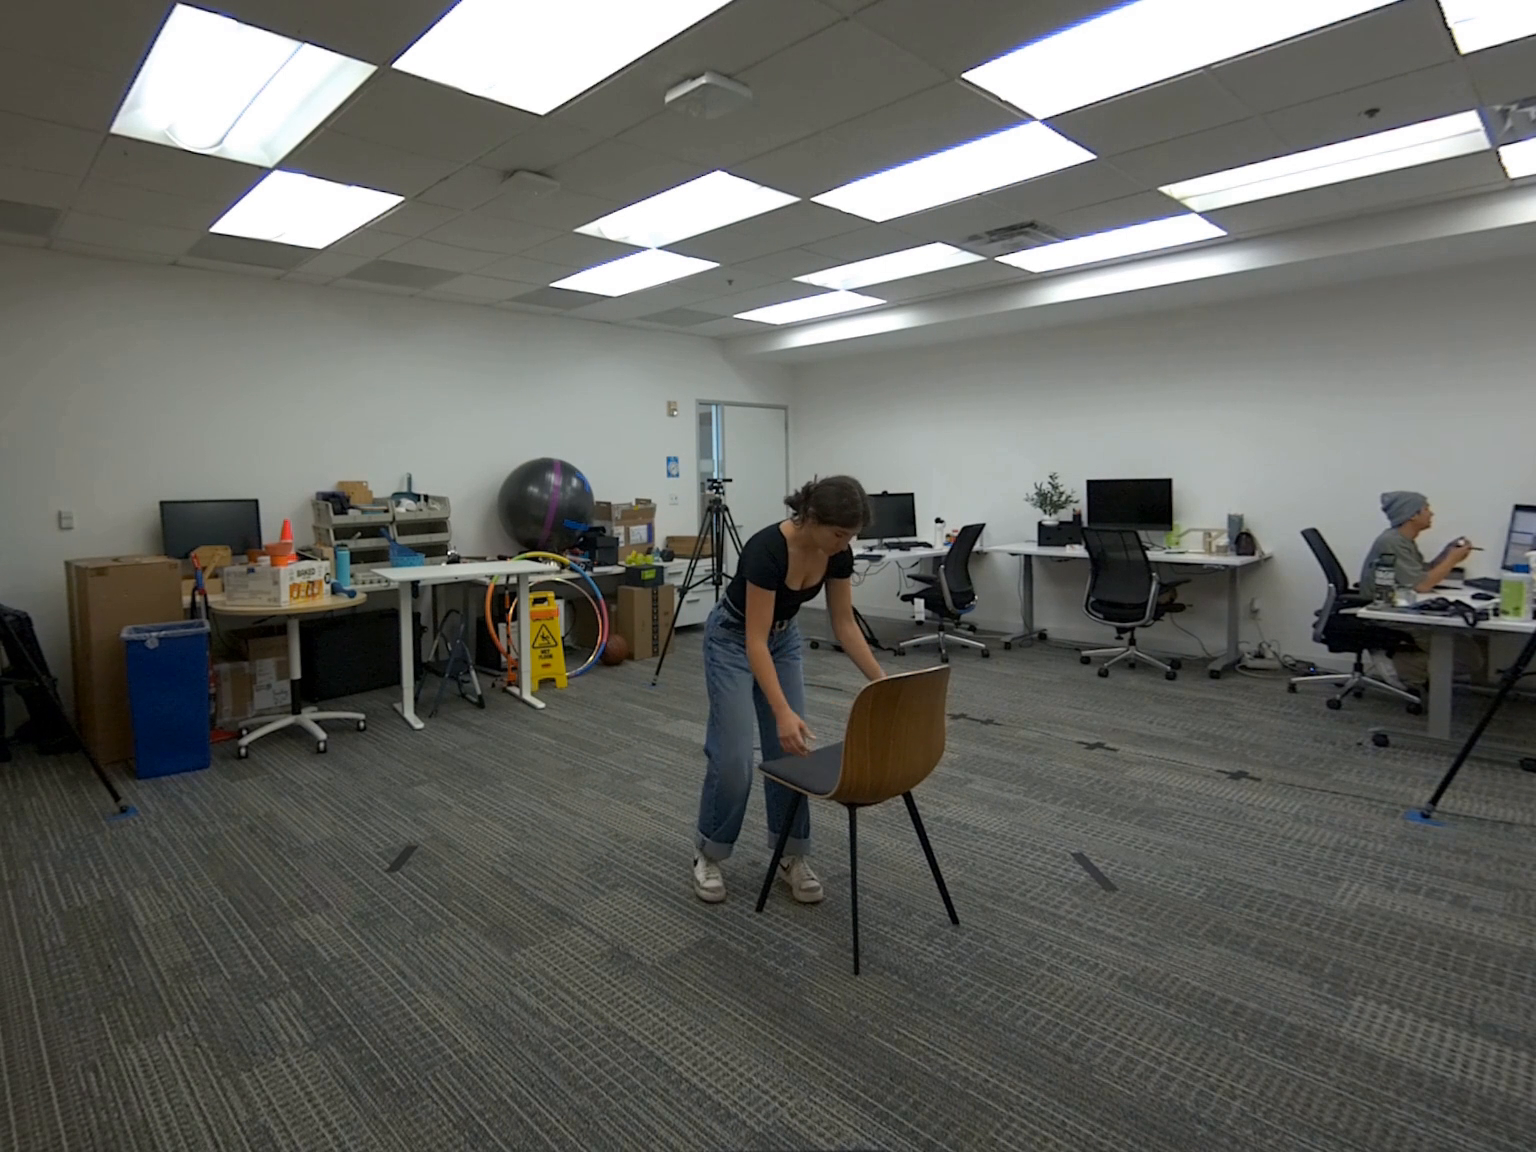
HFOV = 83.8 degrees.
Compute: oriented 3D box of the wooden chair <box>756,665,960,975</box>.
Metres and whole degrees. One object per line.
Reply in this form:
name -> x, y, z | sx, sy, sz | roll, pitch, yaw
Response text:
wooden chair -> 0.266, 0.660, 2.682 | 0.466, 0.871, 0.540 | -5, 10, -38
